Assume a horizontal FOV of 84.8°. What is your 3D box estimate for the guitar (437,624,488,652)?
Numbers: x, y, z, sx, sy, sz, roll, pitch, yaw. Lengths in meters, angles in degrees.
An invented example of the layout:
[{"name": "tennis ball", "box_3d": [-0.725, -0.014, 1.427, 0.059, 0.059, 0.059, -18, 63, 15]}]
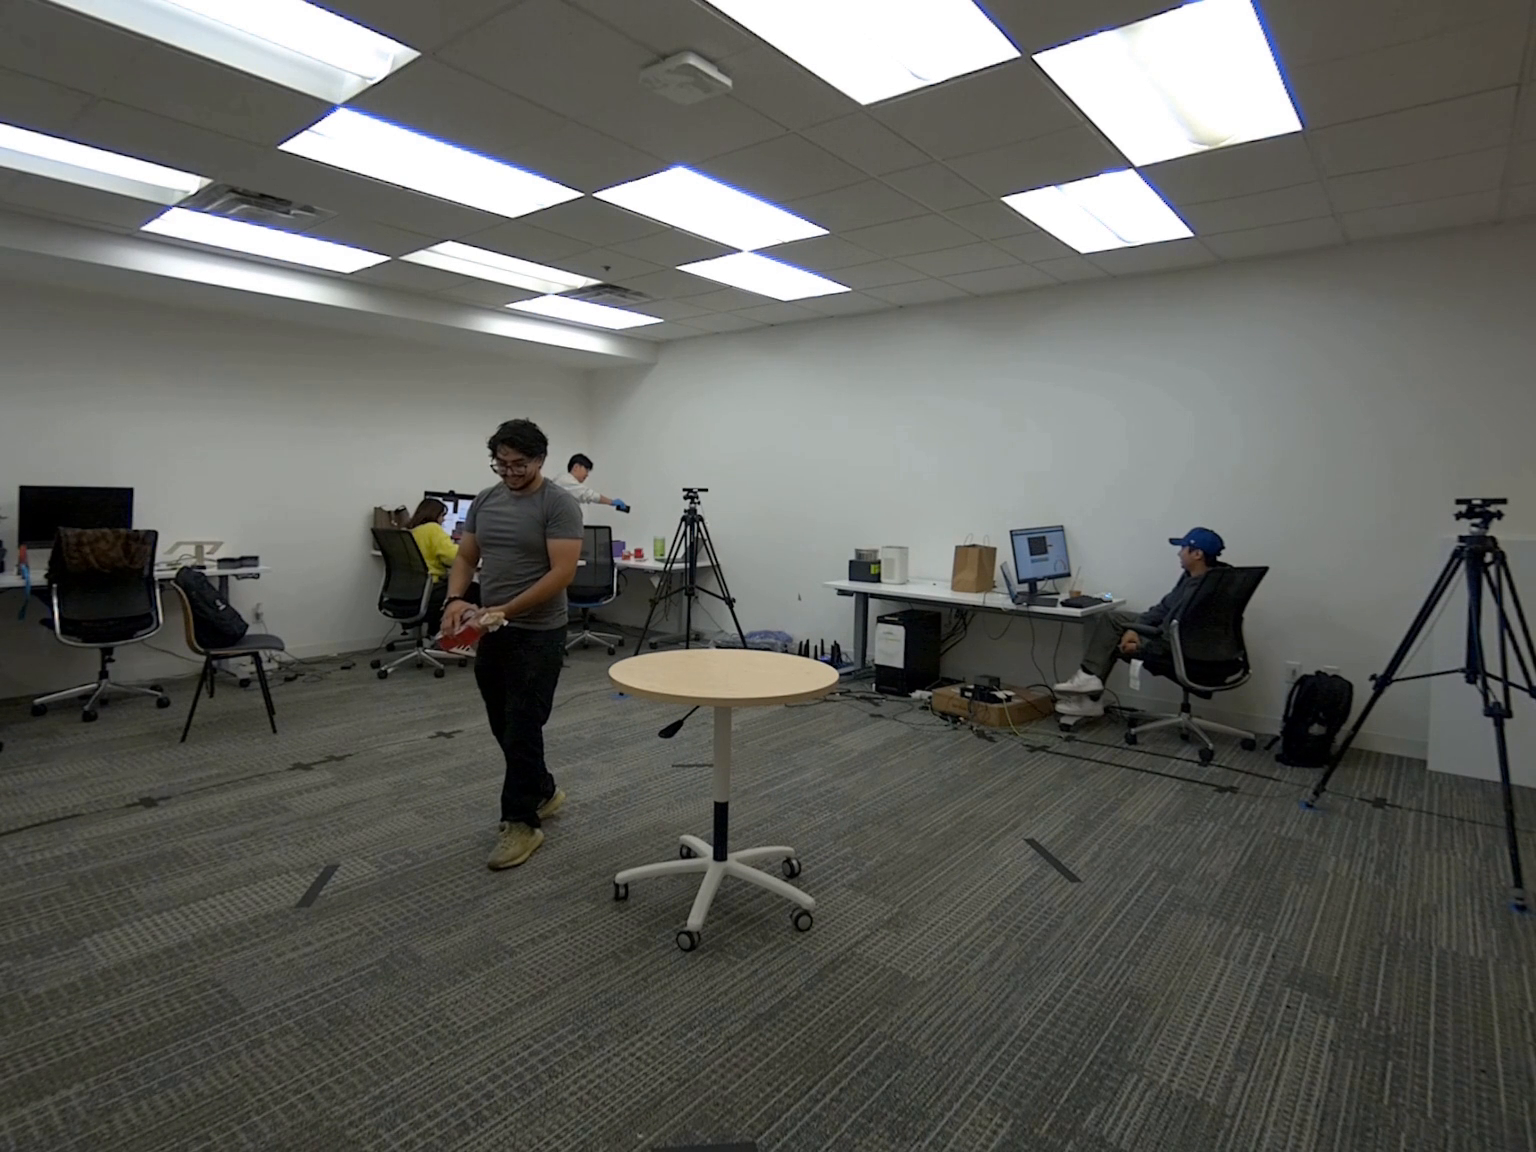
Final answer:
[{"name": "guitar", "box_3d": [-1.058, 0.187, 3.011, 0.193, 0.069, 0.512, -49, 25, -21]}]
